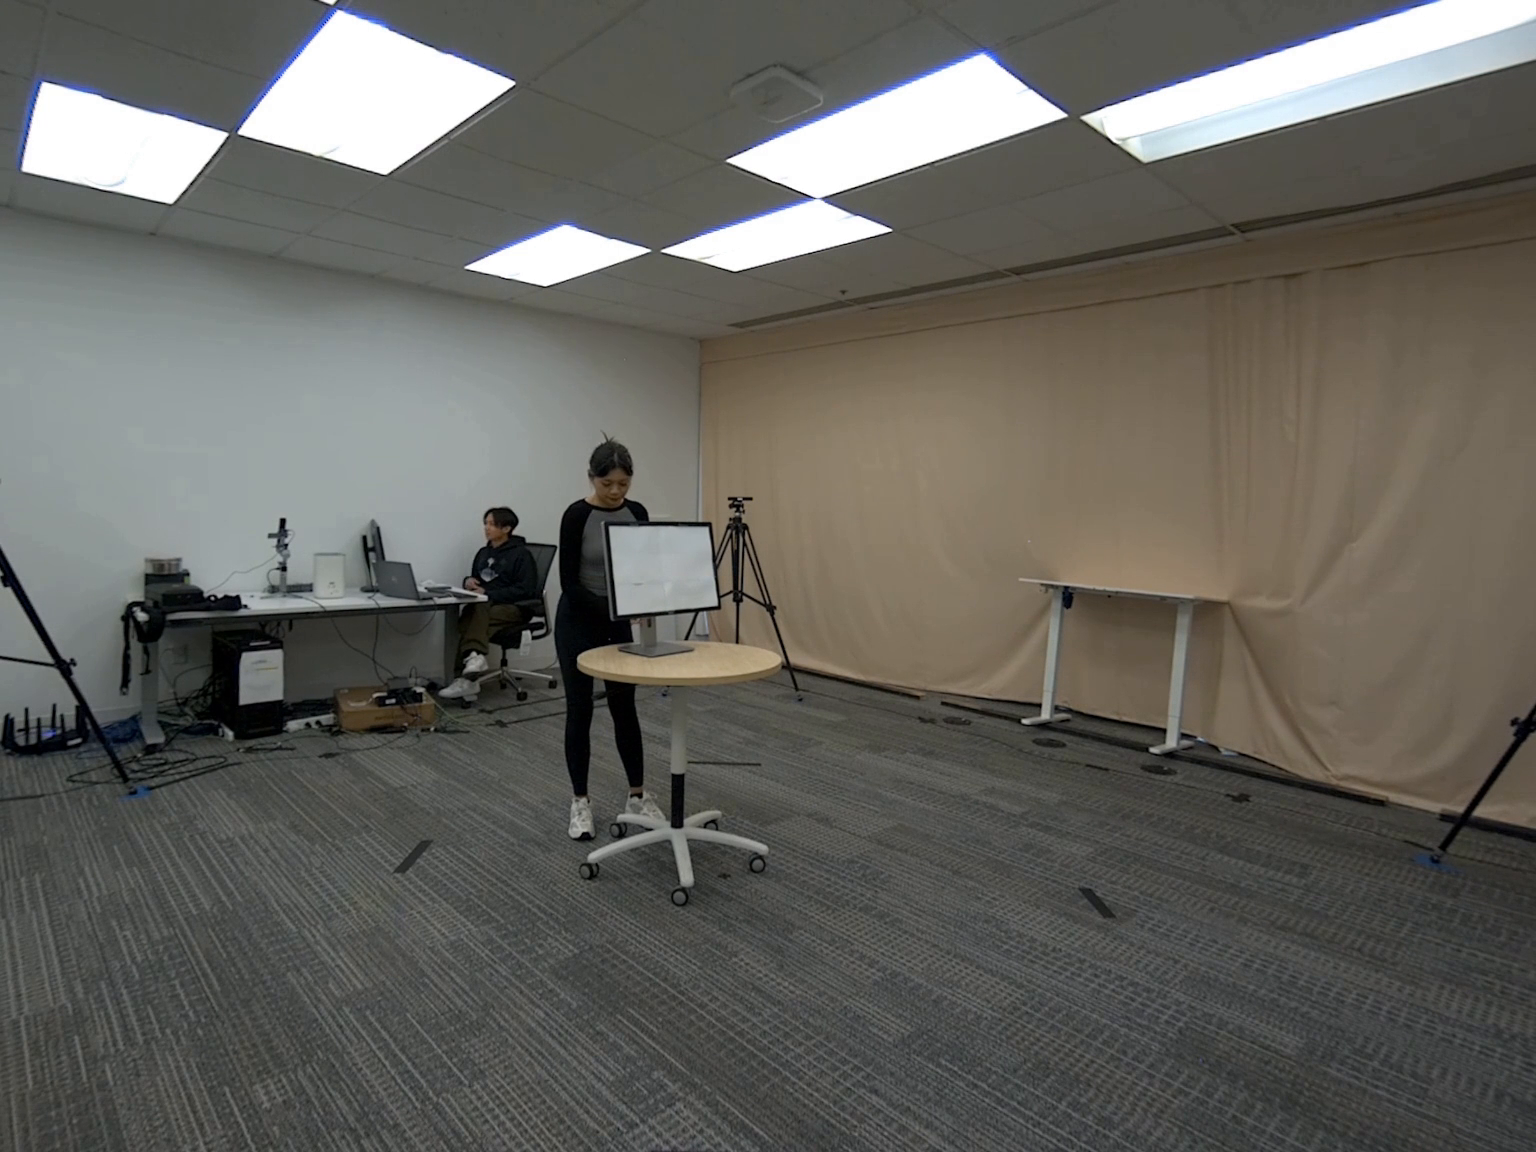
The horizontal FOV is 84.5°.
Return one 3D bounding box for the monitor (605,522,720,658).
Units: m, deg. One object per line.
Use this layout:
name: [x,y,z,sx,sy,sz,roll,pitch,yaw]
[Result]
monitor: [-0.436,0.048,3.286,0.179,0.514,0.517,13,9,40]
